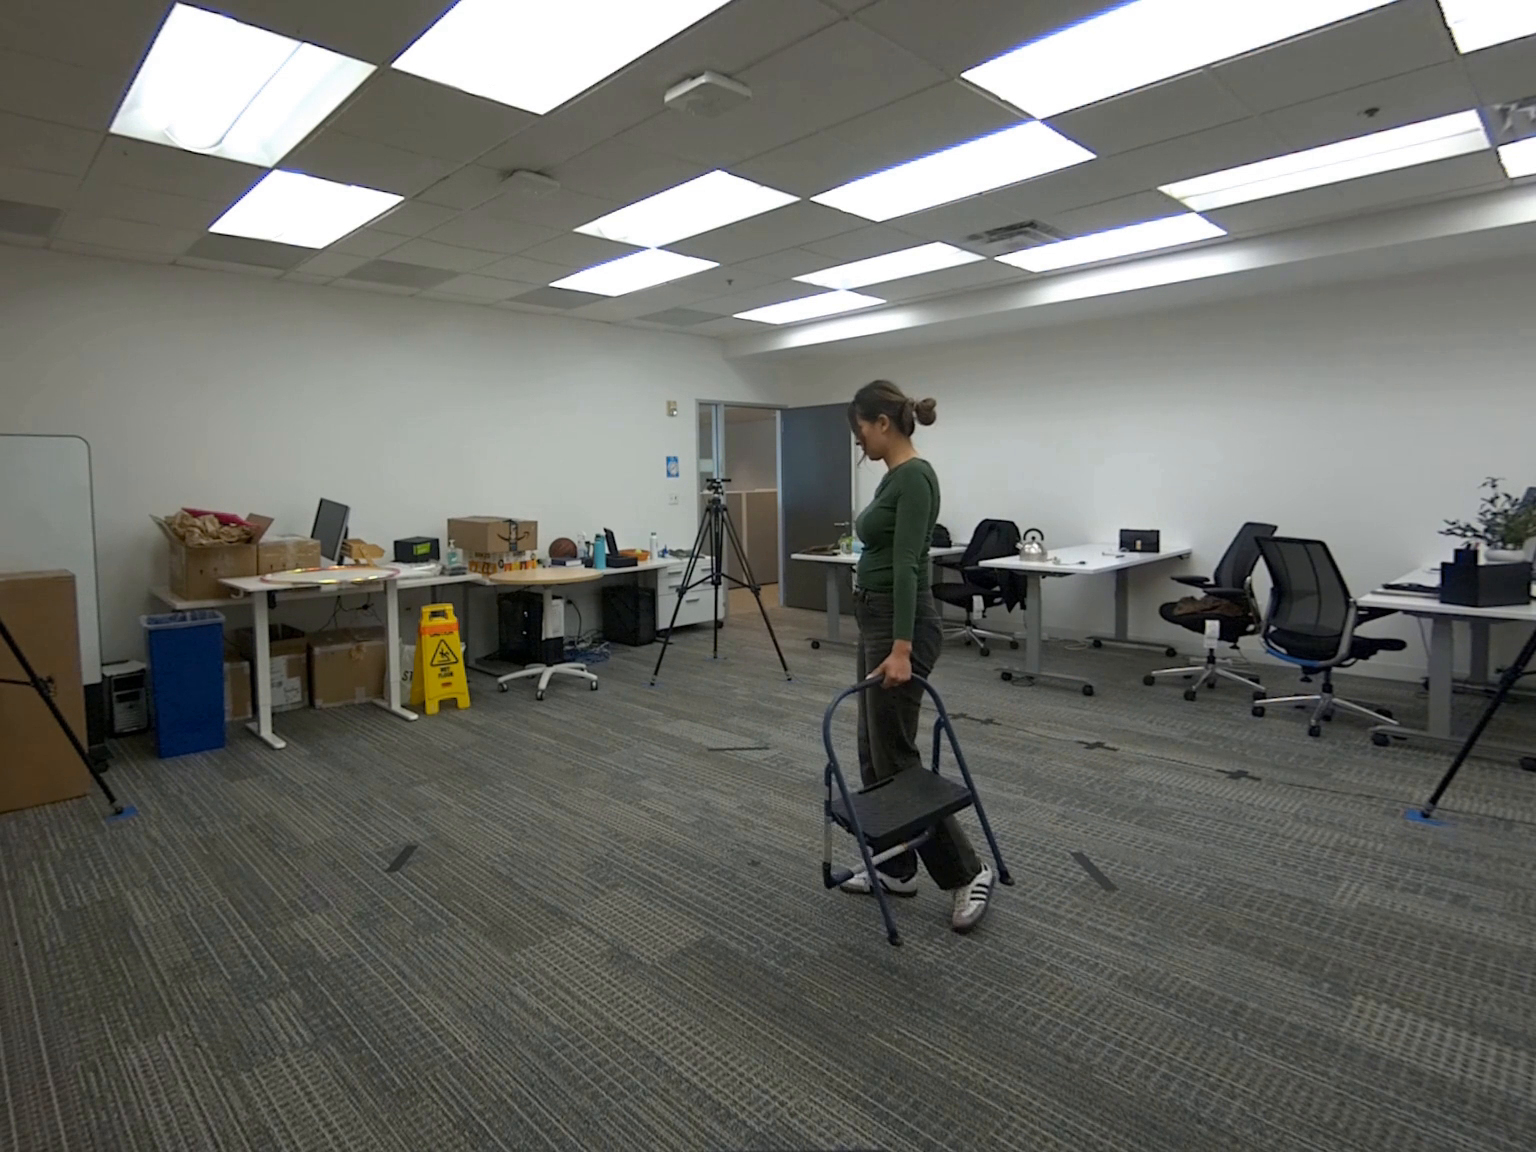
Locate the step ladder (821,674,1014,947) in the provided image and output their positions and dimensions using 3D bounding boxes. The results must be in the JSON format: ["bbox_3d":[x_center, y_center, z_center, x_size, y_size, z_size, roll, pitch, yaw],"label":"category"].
[{"bbox_3d":[0.382,0.599,2.396,0.423,0.600,0.359,-15,12,-28],"label":"step ladder"}]
